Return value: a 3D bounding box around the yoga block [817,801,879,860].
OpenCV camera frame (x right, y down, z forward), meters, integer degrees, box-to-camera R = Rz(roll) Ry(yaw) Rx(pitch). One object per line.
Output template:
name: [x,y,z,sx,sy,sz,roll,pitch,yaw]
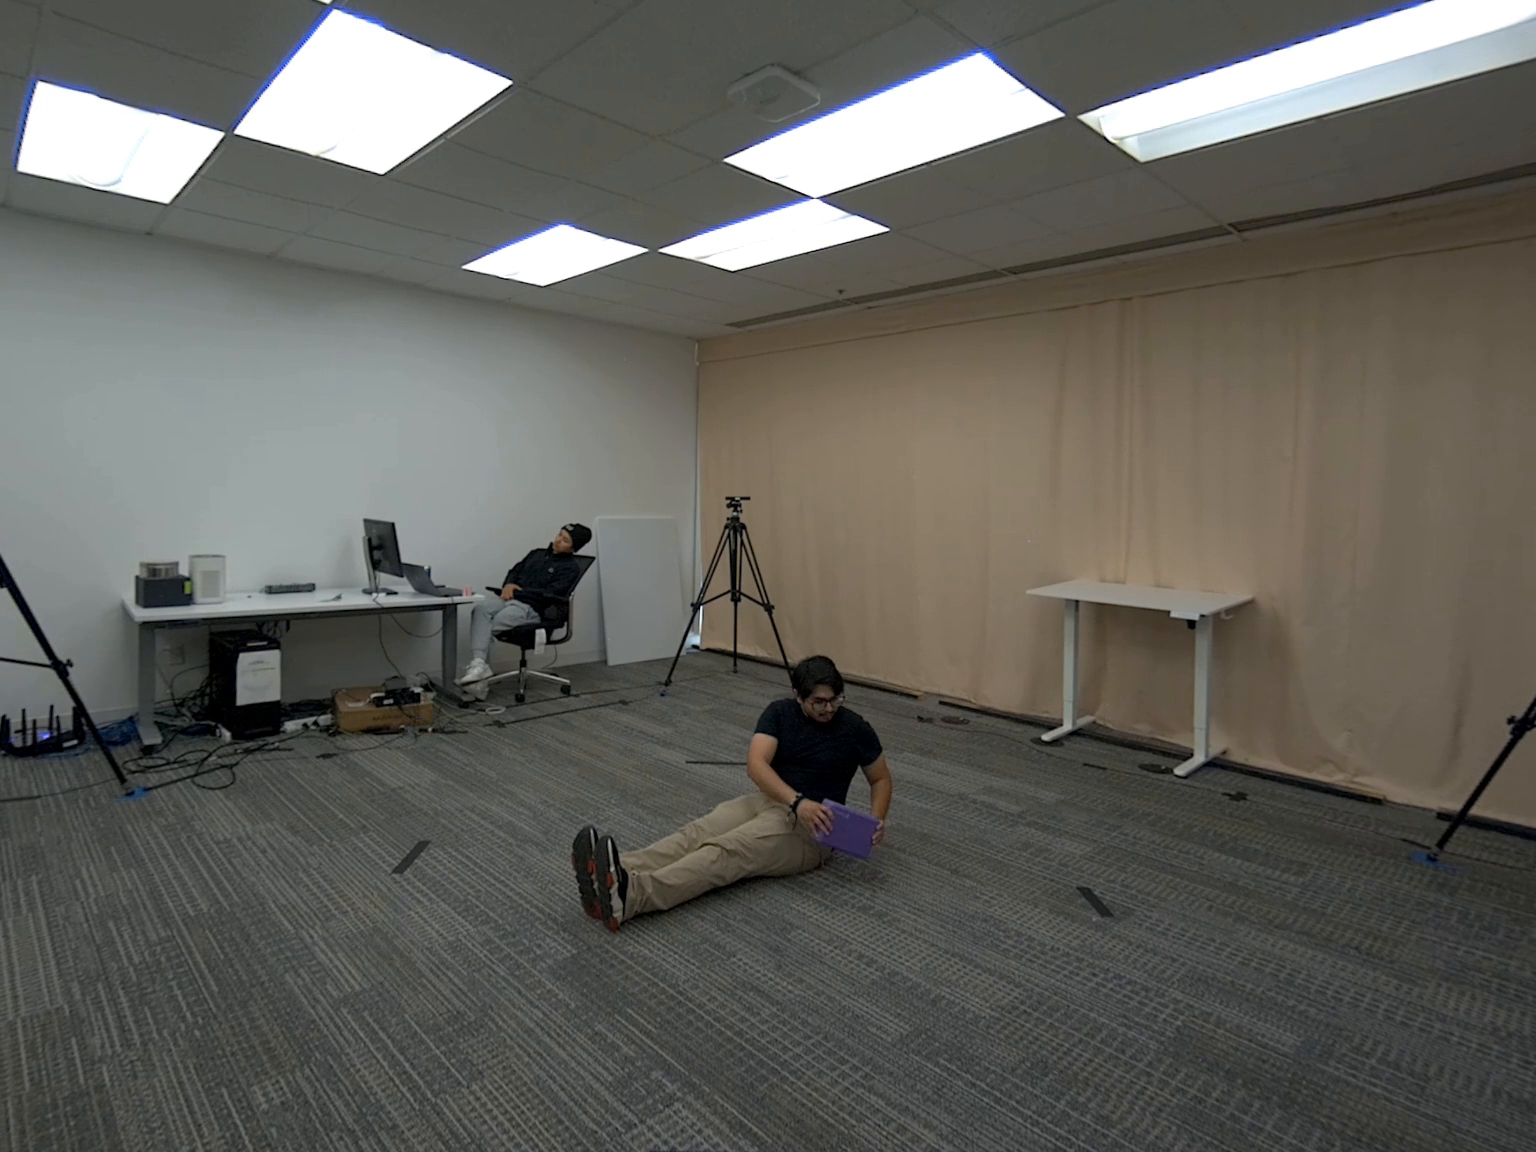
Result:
yoga block: [0.272,0.925,3.072,0.227,0.149,0.077,19,-6,-11]
